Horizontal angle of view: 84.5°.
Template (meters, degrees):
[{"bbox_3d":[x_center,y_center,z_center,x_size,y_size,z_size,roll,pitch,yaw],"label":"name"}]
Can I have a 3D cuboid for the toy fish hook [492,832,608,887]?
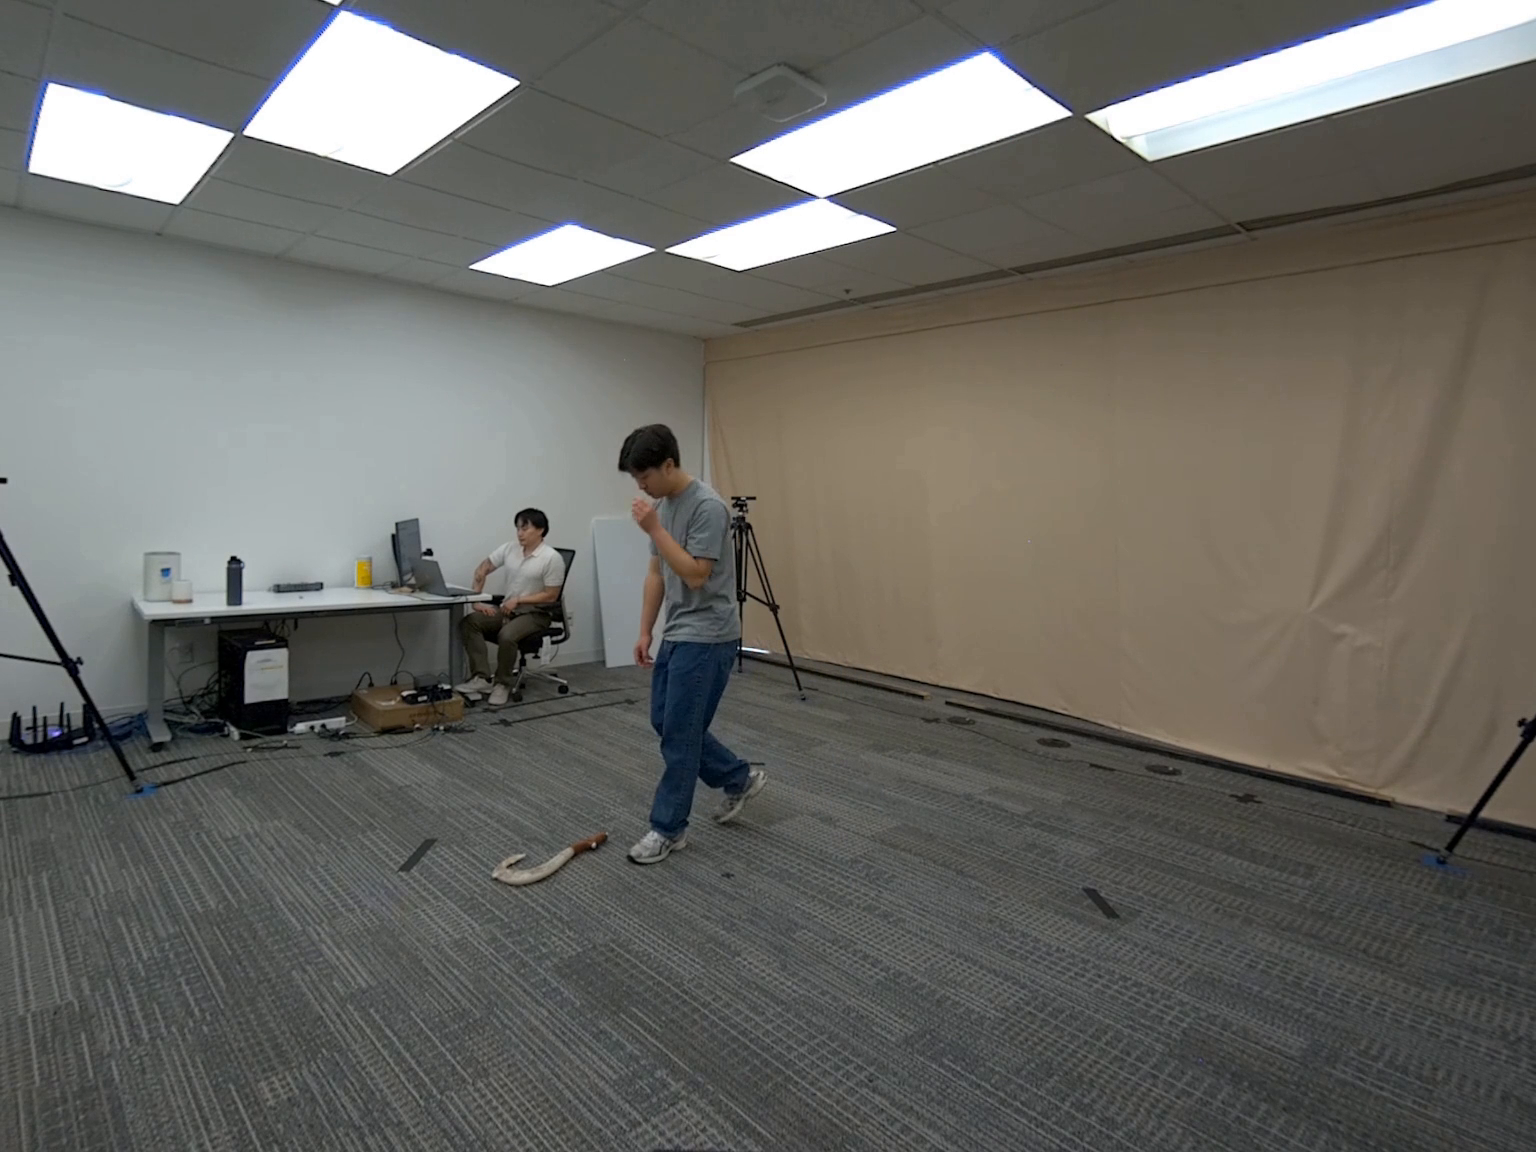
[{"bbox_3d":[-0.830,1.058,3.204,0.230,0.048,0.496,6,6,31],"label":"toy fish hook"}]
